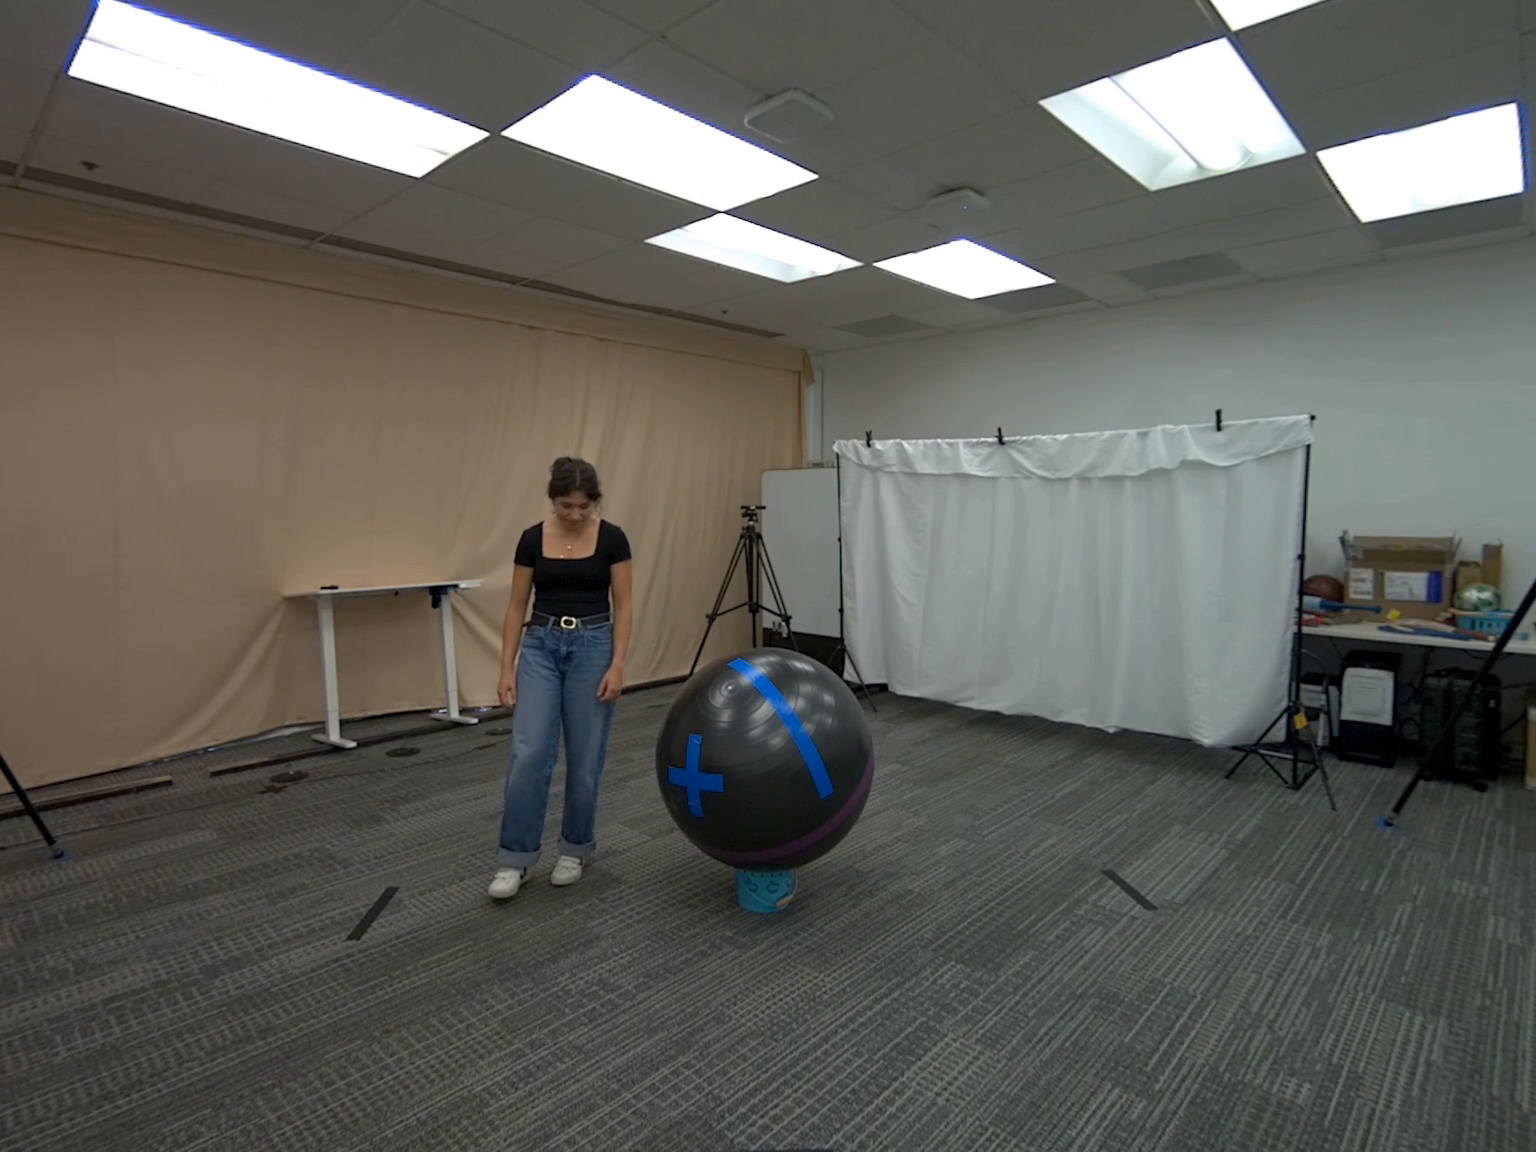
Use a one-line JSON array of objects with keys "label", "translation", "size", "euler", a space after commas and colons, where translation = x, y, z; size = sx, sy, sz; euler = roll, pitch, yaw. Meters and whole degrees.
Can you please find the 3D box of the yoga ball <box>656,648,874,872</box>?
[{"label": "yoga ball", "translation": [-0.012, 0.633, 2.952], "size": [0.757, 0.756, 0.760], "euler": [0, 4, -2]}]
